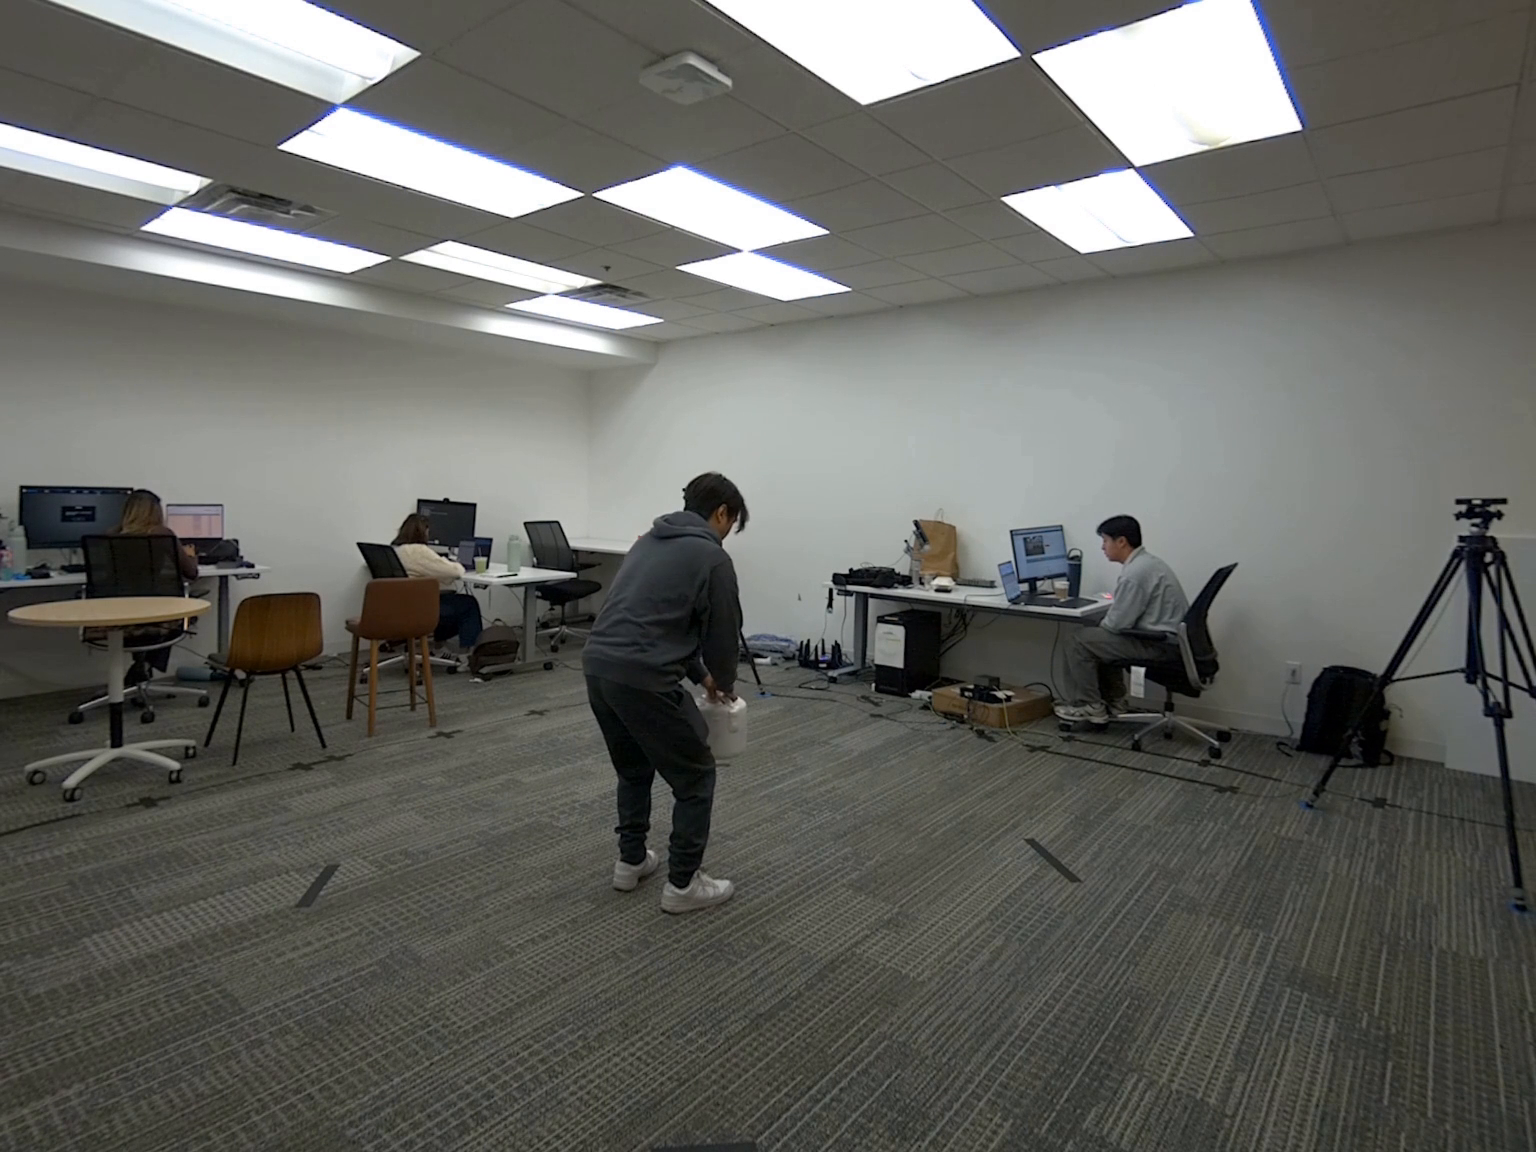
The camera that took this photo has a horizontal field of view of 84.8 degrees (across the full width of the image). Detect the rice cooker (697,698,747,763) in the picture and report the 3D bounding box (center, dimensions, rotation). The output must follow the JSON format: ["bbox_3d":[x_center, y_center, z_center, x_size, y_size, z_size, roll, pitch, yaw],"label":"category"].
[{"bbox_3d":[-0.191,0.536,3.138,0.211,0.232,0.228,-3,6,-33],"label":"rice cooker"}]
